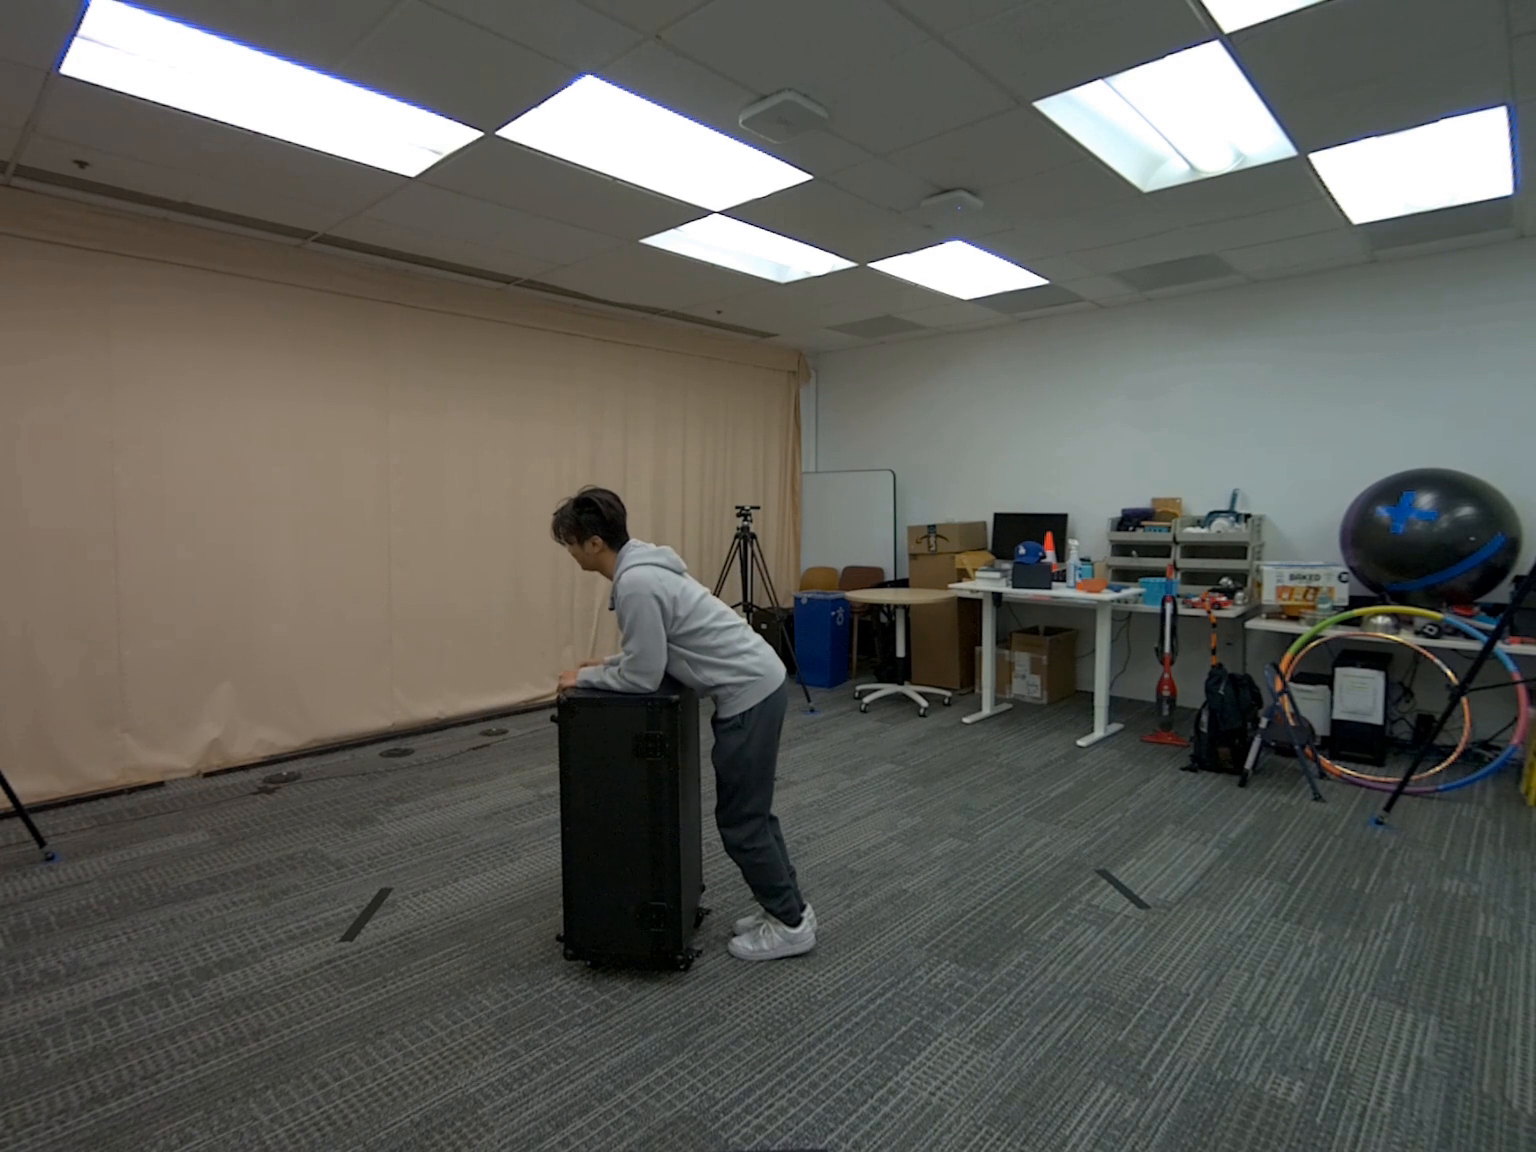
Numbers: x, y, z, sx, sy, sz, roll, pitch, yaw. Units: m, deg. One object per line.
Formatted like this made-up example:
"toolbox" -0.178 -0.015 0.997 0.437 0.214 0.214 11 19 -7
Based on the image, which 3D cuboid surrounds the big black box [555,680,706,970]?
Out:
"big black box" -0.422 0.753 2.655 0.398 0.859 0.520 -1 3 4
